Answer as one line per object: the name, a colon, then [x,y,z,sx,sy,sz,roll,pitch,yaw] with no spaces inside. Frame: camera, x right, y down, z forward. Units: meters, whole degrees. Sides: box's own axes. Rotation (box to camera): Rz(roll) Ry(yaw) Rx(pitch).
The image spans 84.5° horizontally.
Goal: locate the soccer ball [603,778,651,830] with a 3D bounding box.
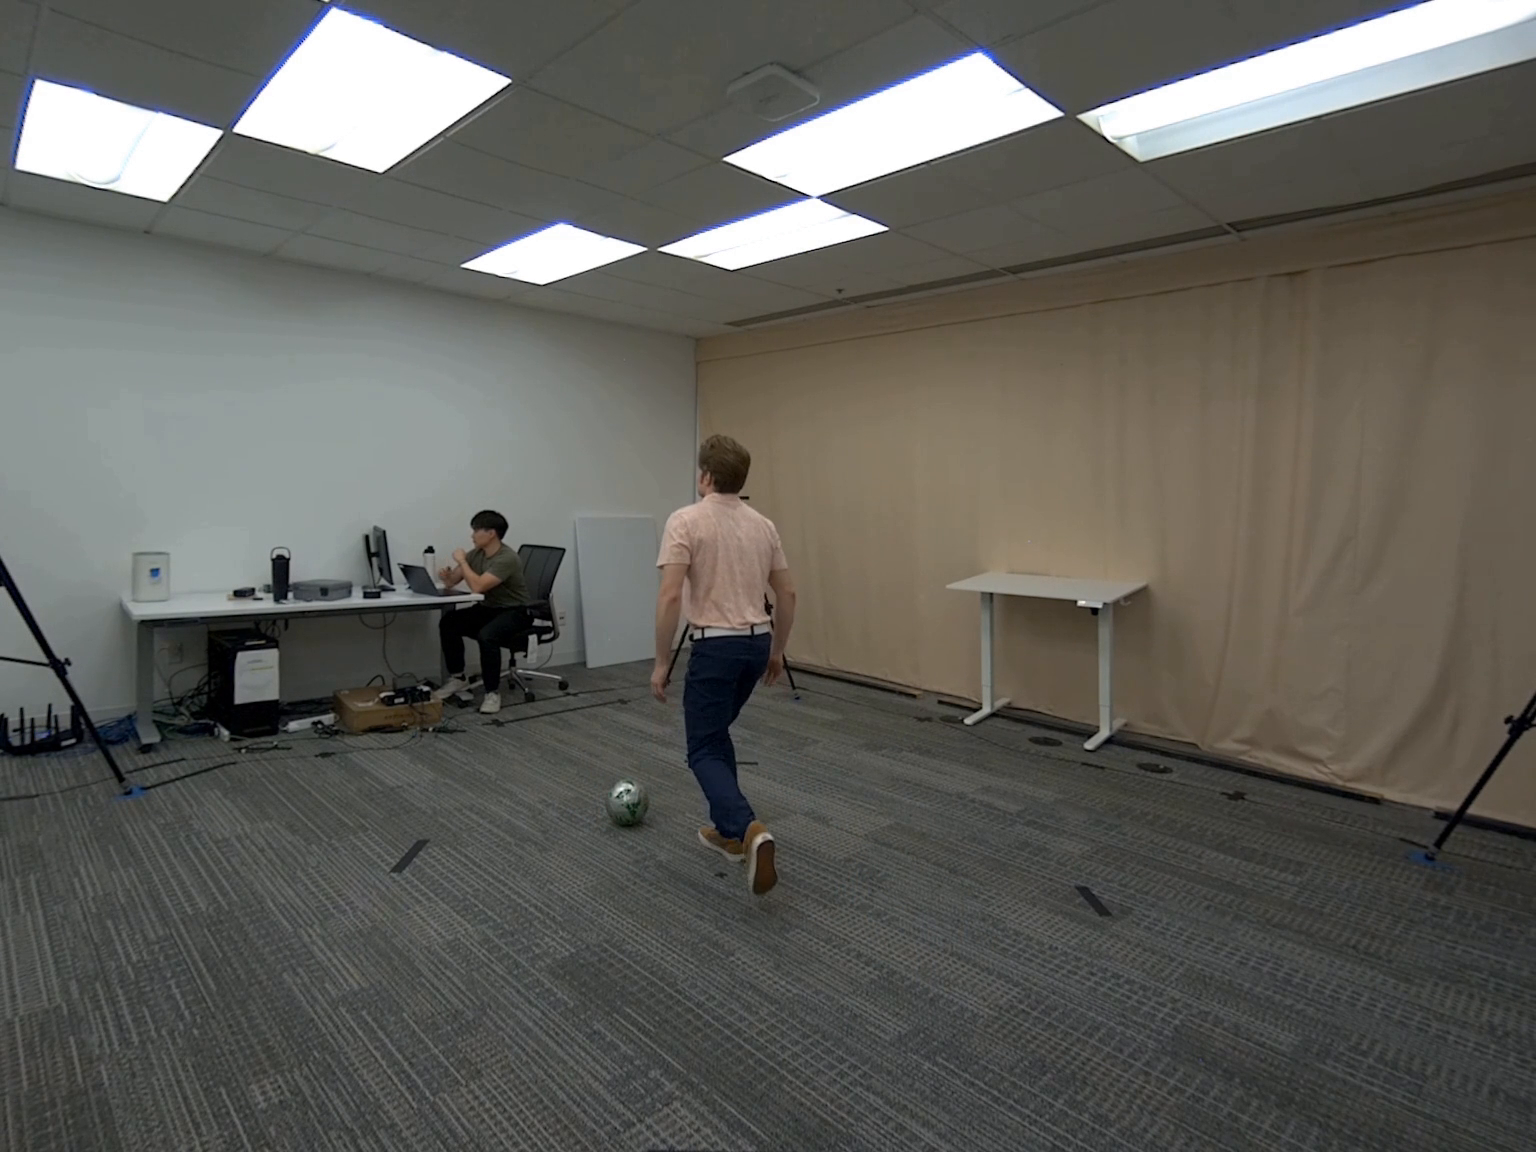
soccer ball: [-0.603,0.965,3.567,0.187,0.187,0.188,1,4,-1]
